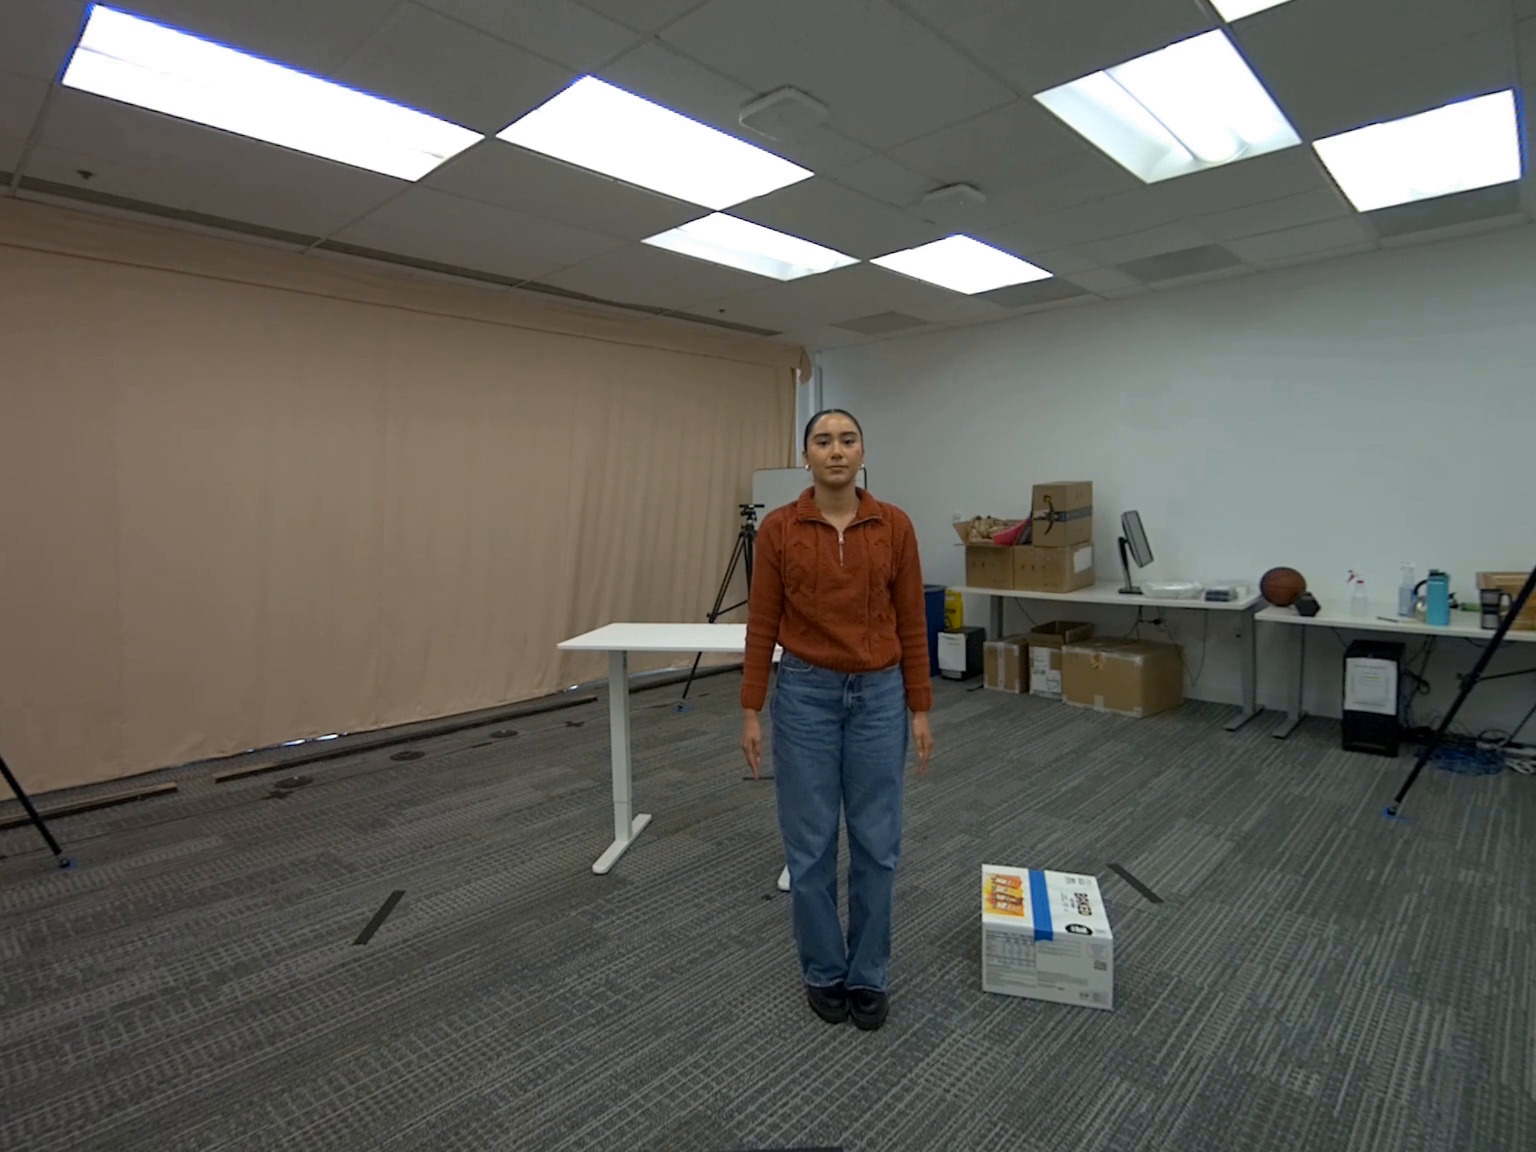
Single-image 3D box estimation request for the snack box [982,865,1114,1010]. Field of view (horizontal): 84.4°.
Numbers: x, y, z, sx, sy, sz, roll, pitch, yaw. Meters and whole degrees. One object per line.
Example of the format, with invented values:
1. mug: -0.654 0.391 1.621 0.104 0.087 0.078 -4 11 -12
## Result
1. snack box: 0.829 1.064 2.516 0.346 0.205 0.399 0 4 16
